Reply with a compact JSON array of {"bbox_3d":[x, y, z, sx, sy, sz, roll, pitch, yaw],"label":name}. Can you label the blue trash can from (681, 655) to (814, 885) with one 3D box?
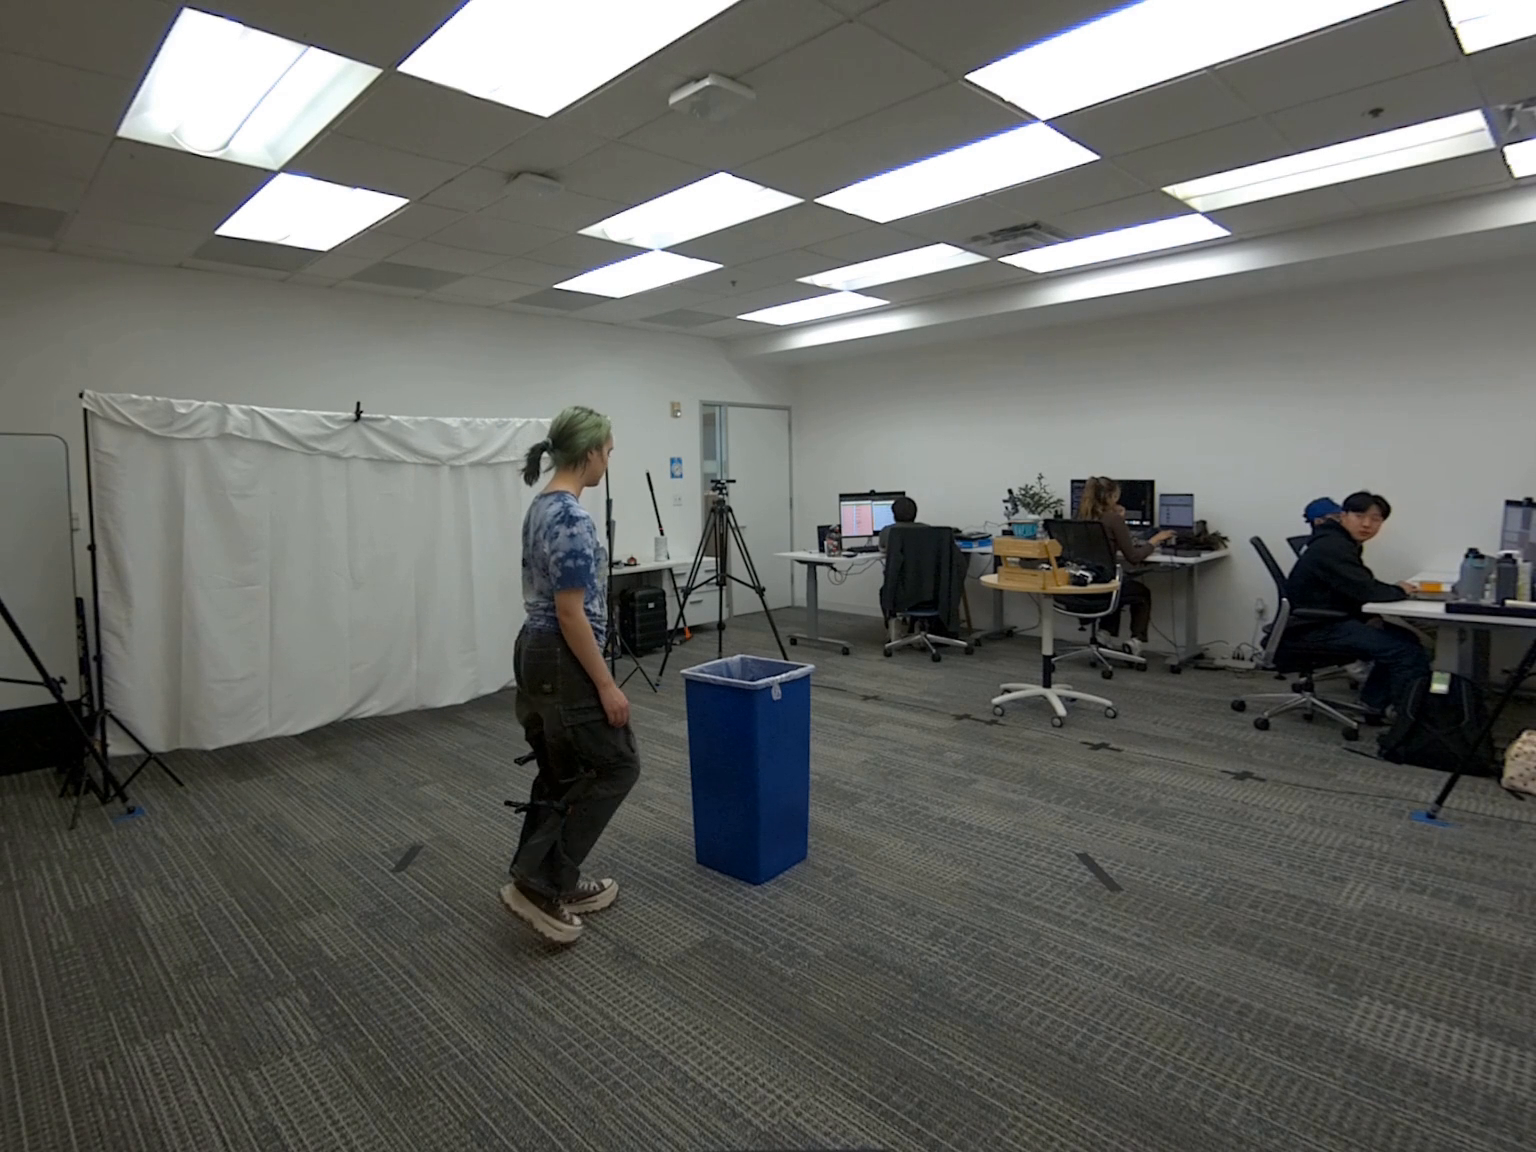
[{"bbox_3d":[-0.071,0.687,3.126,0.385,0.711,0.368,3,5,39],"label":"blue trash can"}]
